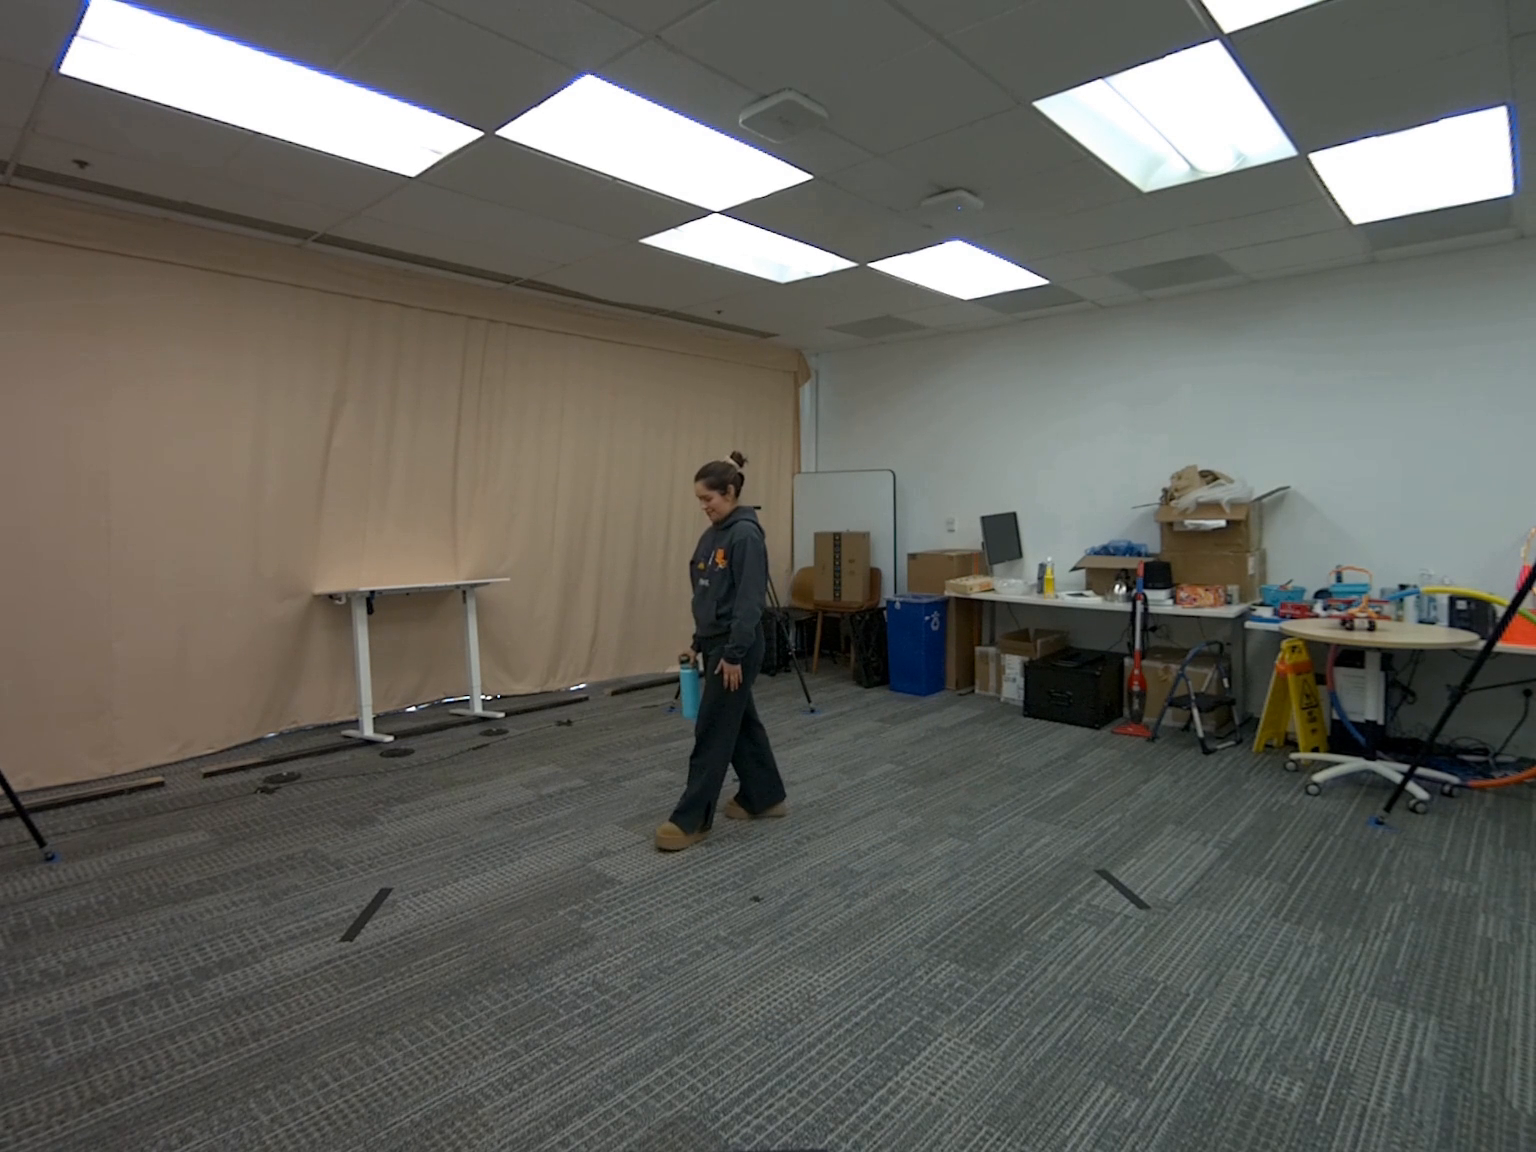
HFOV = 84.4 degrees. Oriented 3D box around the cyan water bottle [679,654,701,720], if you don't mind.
[{"bbox_3d":[-0.341,0.502,3.853,0.092,0.283,0.092,-4,2,-2],"label":"cyan water bottle"}]
